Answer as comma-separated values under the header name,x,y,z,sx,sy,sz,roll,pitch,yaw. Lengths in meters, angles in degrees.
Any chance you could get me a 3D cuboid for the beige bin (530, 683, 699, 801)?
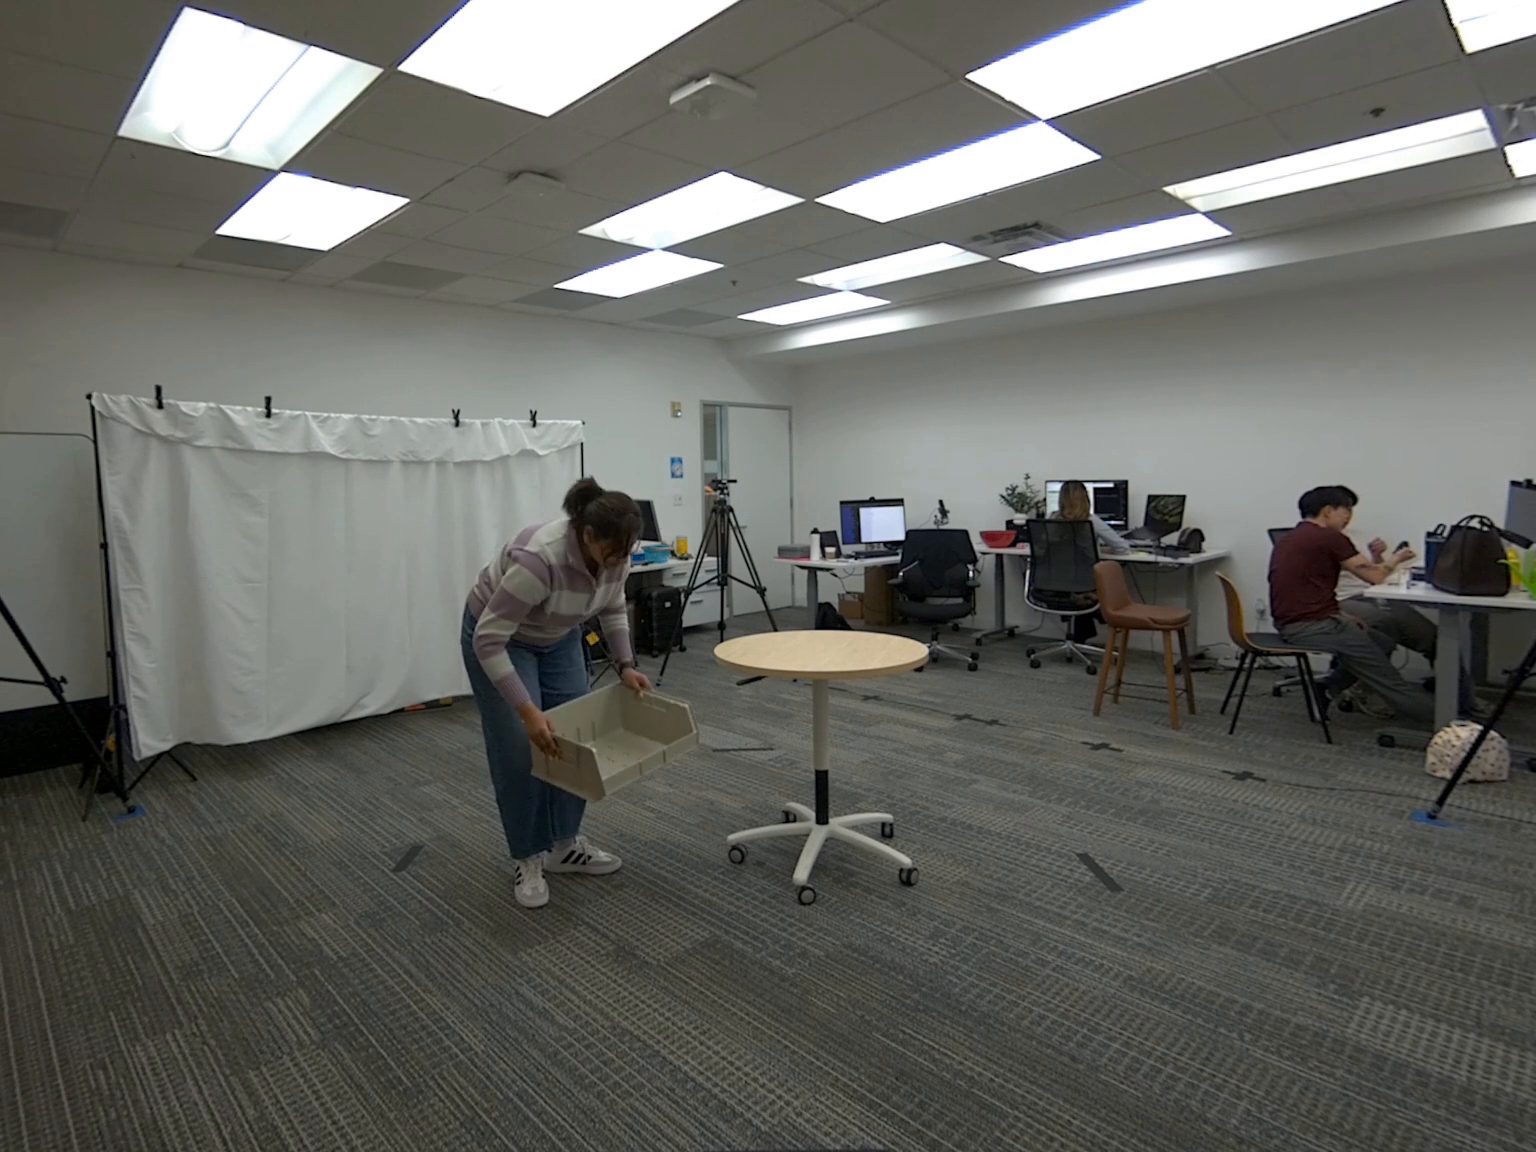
name,x,y,z,sx,sy,sz,roll,pitch,yaw
beige bin,-0.497,0.523,2.746,0.389,0.187,0.414,7,16,38
